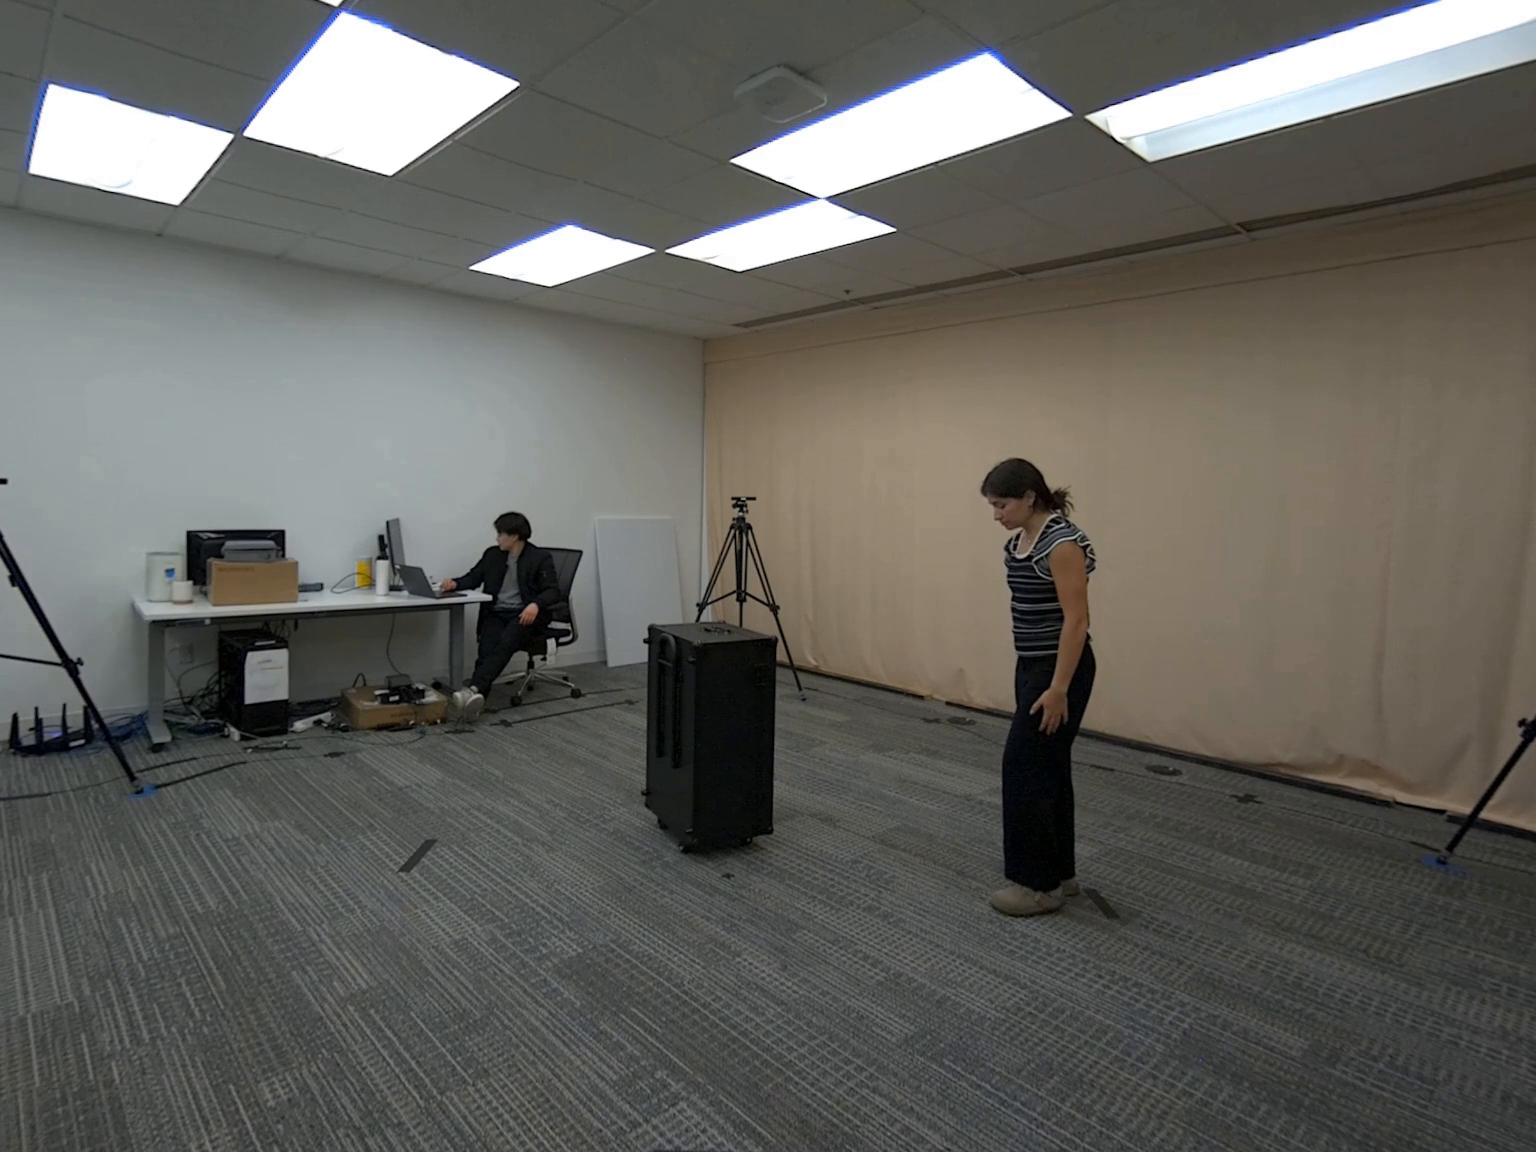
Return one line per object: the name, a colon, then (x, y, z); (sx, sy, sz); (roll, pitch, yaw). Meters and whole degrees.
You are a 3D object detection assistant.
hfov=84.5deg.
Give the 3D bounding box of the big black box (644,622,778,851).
big black box: (-0.258, 0.647, 3.441); (0.388, 0.859, 0.533); (-1, 4, -29)
